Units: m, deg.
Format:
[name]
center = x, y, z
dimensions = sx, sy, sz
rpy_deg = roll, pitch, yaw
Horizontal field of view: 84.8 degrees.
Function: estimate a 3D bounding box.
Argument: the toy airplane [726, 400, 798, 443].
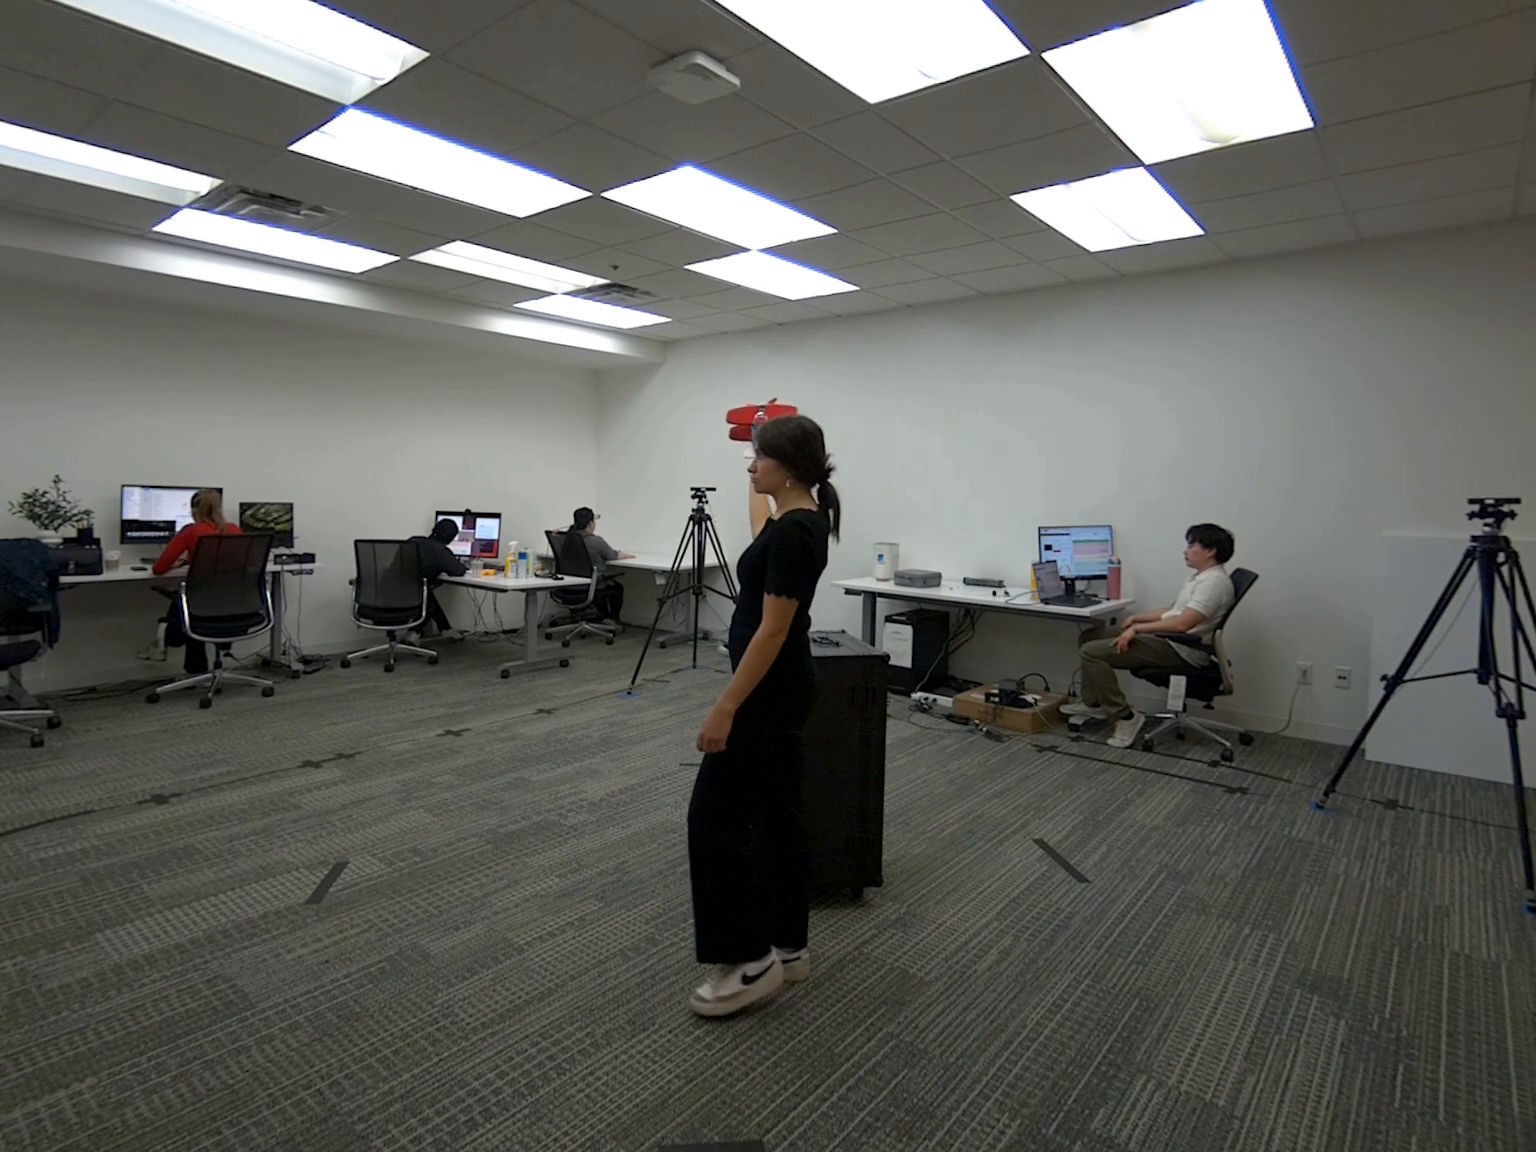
[toy airplane]
center = -0.013, -0.508, 3.004
dimensions = 0.248, 0.152, 0.270
rpy_deg = -20, 37, -16
